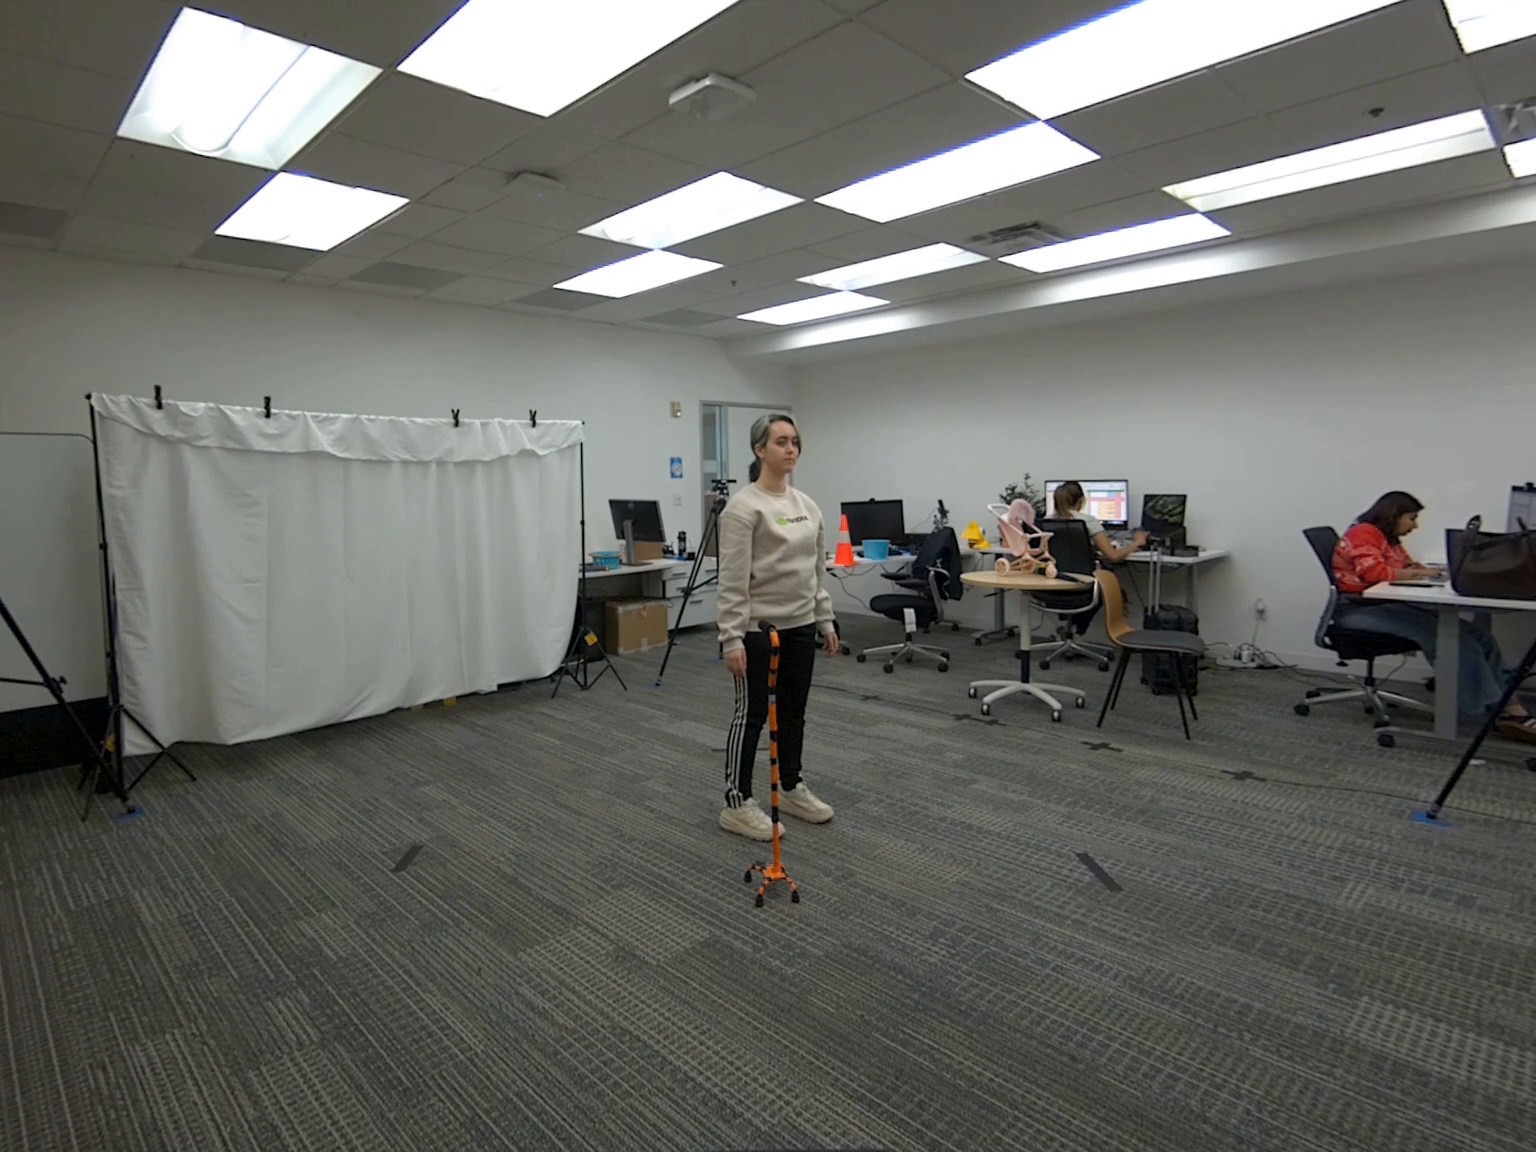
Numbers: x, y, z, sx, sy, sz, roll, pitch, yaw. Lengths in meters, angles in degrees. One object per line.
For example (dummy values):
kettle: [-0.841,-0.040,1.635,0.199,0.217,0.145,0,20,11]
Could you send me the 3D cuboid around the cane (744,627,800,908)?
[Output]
cane: [0.002,0.622,2.873,0.150,0.904,0.209,-2,4,-12]
